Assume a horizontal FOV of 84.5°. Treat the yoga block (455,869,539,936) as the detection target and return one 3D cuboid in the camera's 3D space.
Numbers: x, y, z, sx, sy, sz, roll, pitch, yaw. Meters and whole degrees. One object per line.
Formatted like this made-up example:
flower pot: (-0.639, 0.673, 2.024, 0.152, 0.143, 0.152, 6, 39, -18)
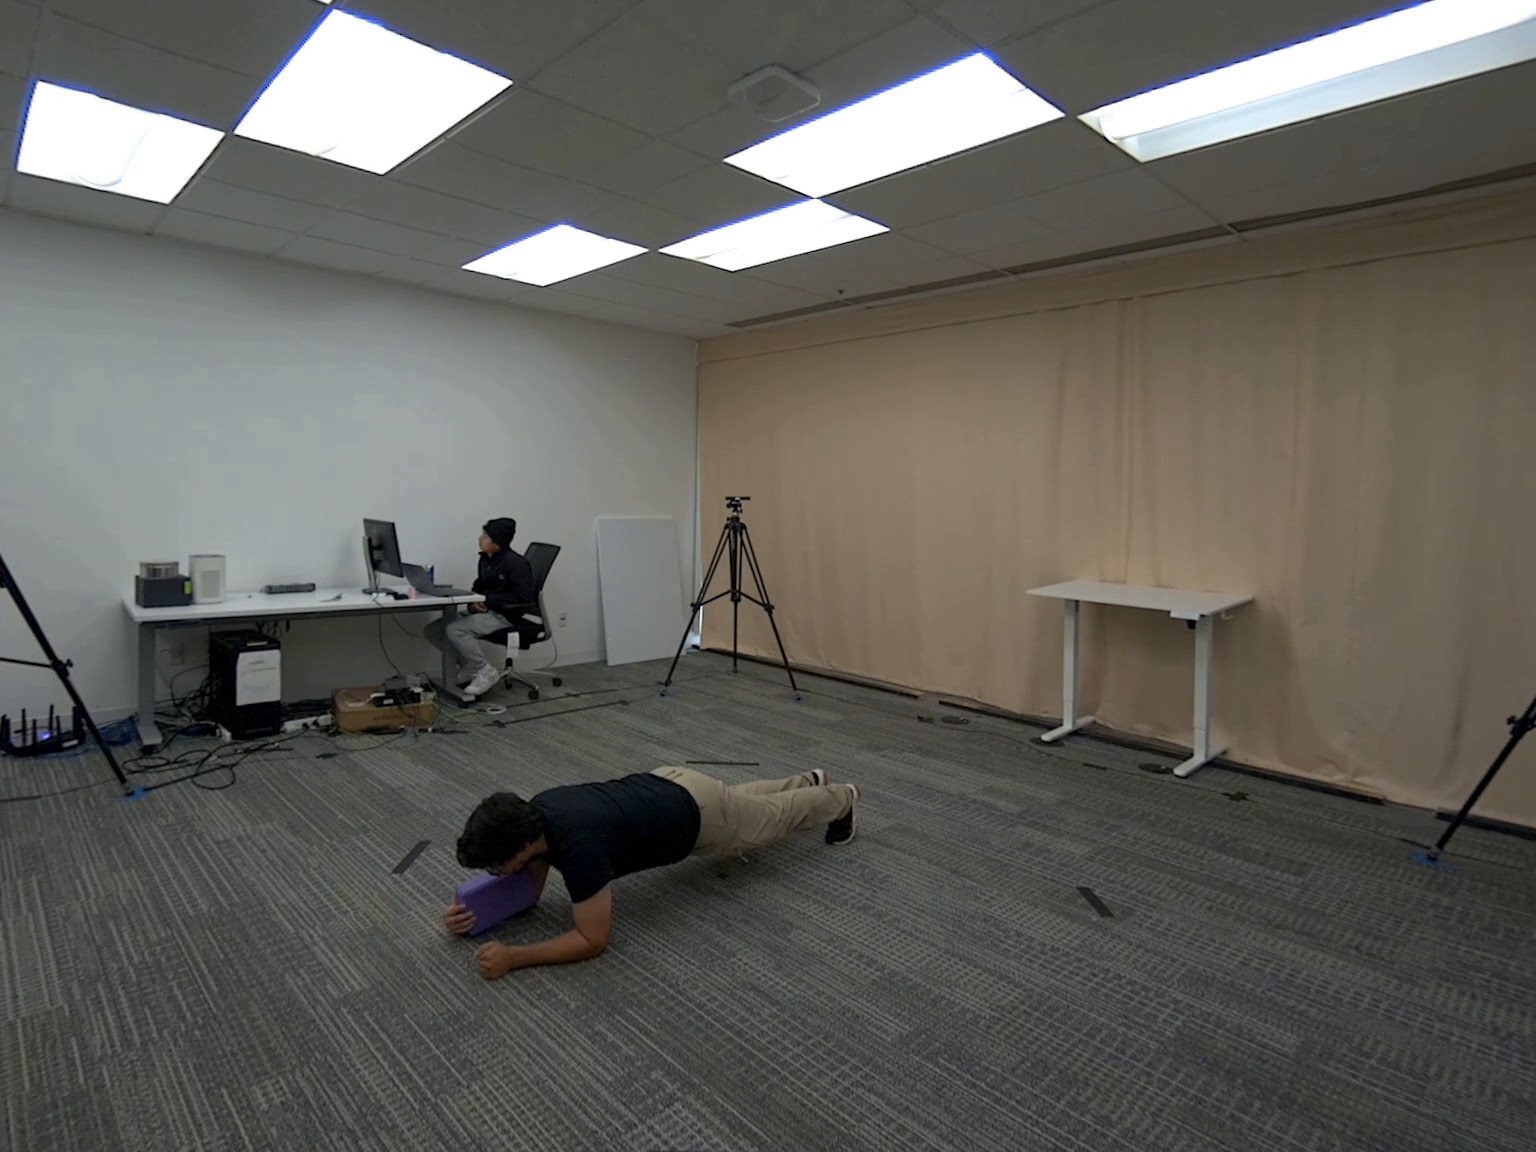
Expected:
yoga block: (-0.870, 1.017, 2.688, 0.225, 0.148, 0.078, -14, 14, -38)
